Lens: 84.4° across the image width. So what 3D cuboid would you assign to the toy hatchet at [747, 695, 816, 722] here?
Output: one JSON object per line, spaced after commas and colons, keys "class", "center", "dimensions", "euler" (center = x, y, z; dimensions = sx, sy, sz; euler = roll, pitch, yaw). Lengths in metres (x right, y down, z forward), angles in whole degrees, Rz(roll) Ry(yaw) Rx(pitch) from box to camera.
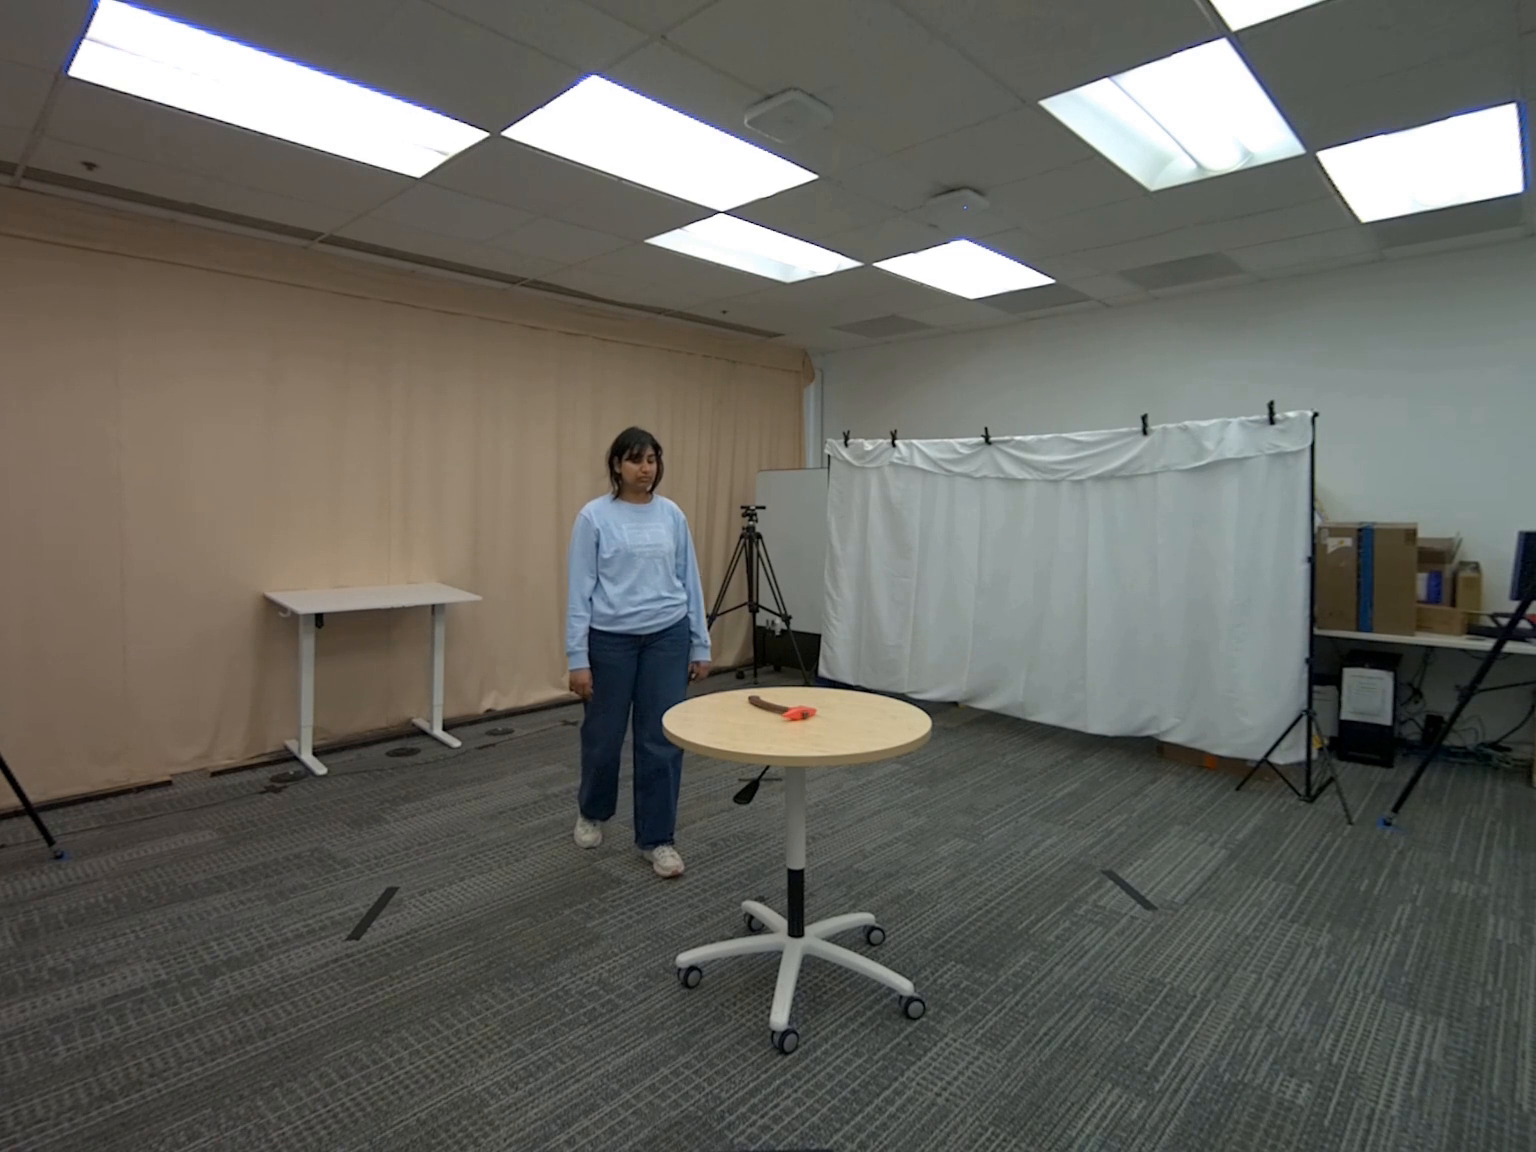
{"class": "toy hatchet", "center": [0.055, 0.389, 2.498], "dimensions": [0.128, 0.029, 0.276], "euler": [-2, 4, -22]}
